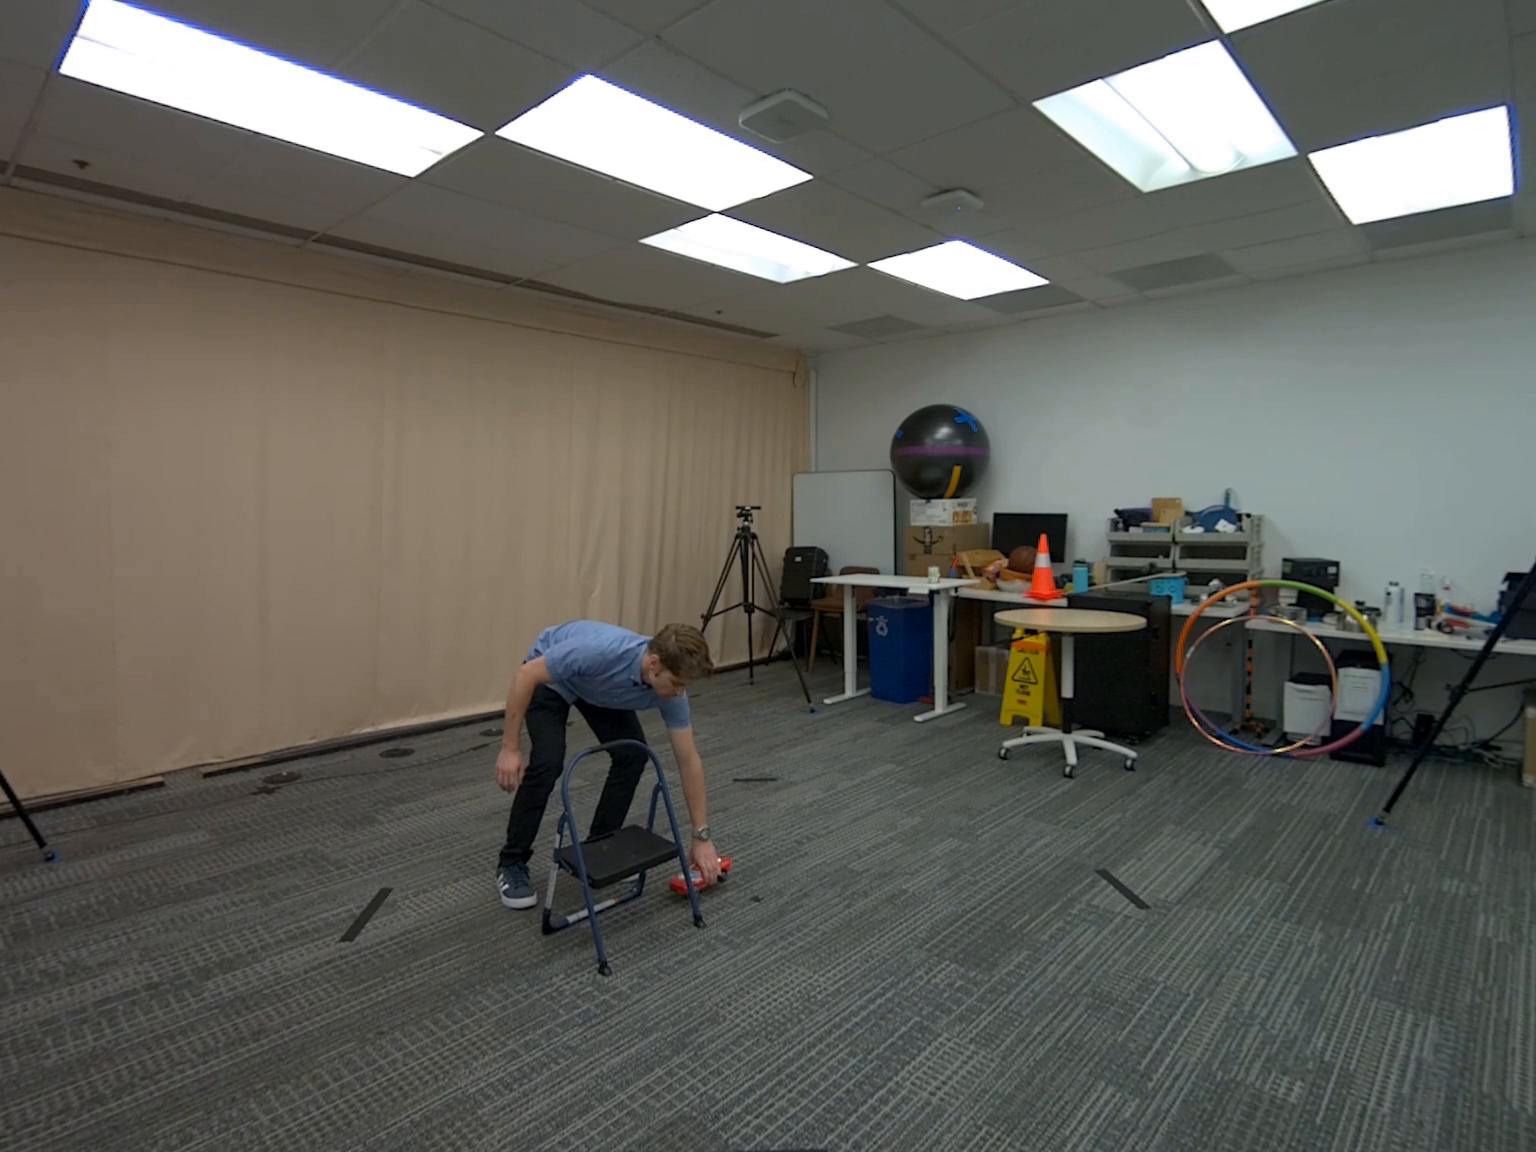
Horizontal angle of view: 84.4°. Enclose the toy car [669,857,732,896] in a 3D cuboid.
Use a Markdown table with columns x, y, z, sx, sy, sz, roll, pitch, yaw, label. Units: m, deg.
| x | y | z | sx | sy | sz | roll | pitch | yaw | label |
| --- | --- | --- | --- | --- | --- | --- | --- | --- | --- |
| -0.239 | 1.079 | 3.044 | 0.134 | 0.082 | 0.249 | -1 | 16 | 43 | toy car |
